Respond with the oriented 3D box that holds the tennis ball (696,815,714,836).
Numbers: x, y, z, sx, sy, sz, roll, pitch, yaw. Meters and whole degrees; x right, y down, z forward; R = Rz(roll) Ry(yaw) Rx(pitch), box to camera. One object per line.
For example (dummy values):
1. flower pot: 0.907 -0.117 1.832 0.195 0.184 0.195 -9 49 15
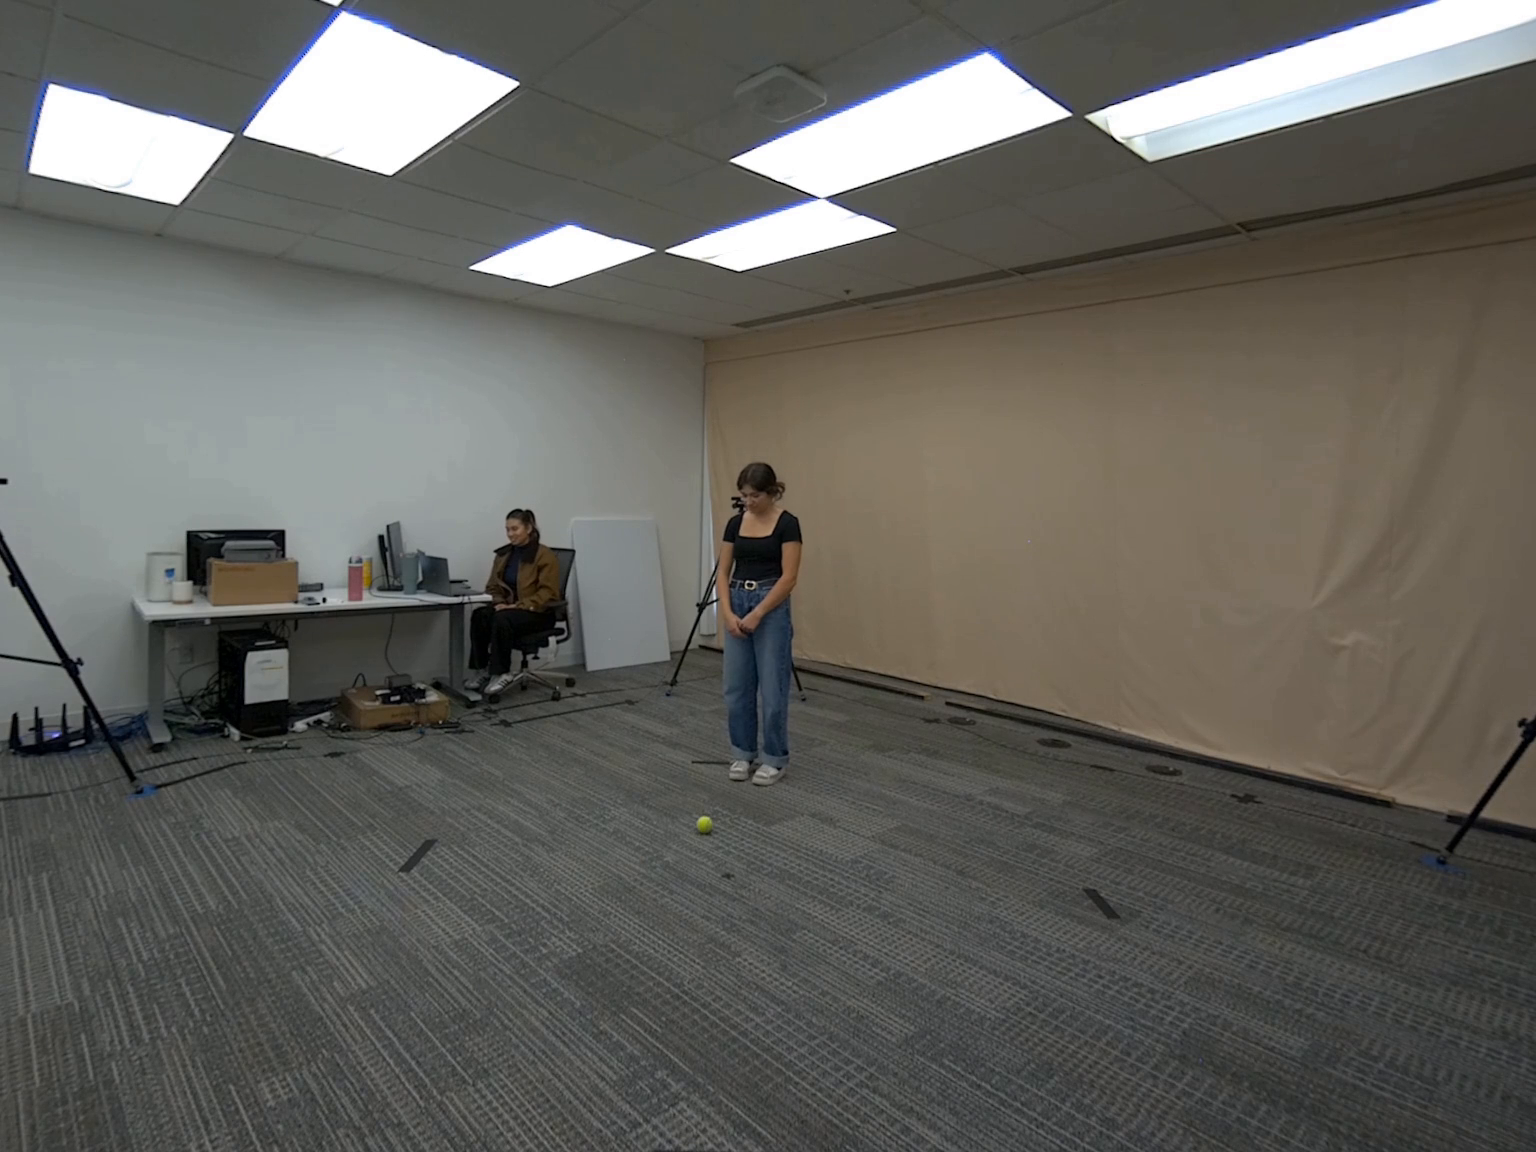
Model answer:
1. tennis ball: -0.280 1.021 3.507 0.066 0.066 0.067 1 4 -1
